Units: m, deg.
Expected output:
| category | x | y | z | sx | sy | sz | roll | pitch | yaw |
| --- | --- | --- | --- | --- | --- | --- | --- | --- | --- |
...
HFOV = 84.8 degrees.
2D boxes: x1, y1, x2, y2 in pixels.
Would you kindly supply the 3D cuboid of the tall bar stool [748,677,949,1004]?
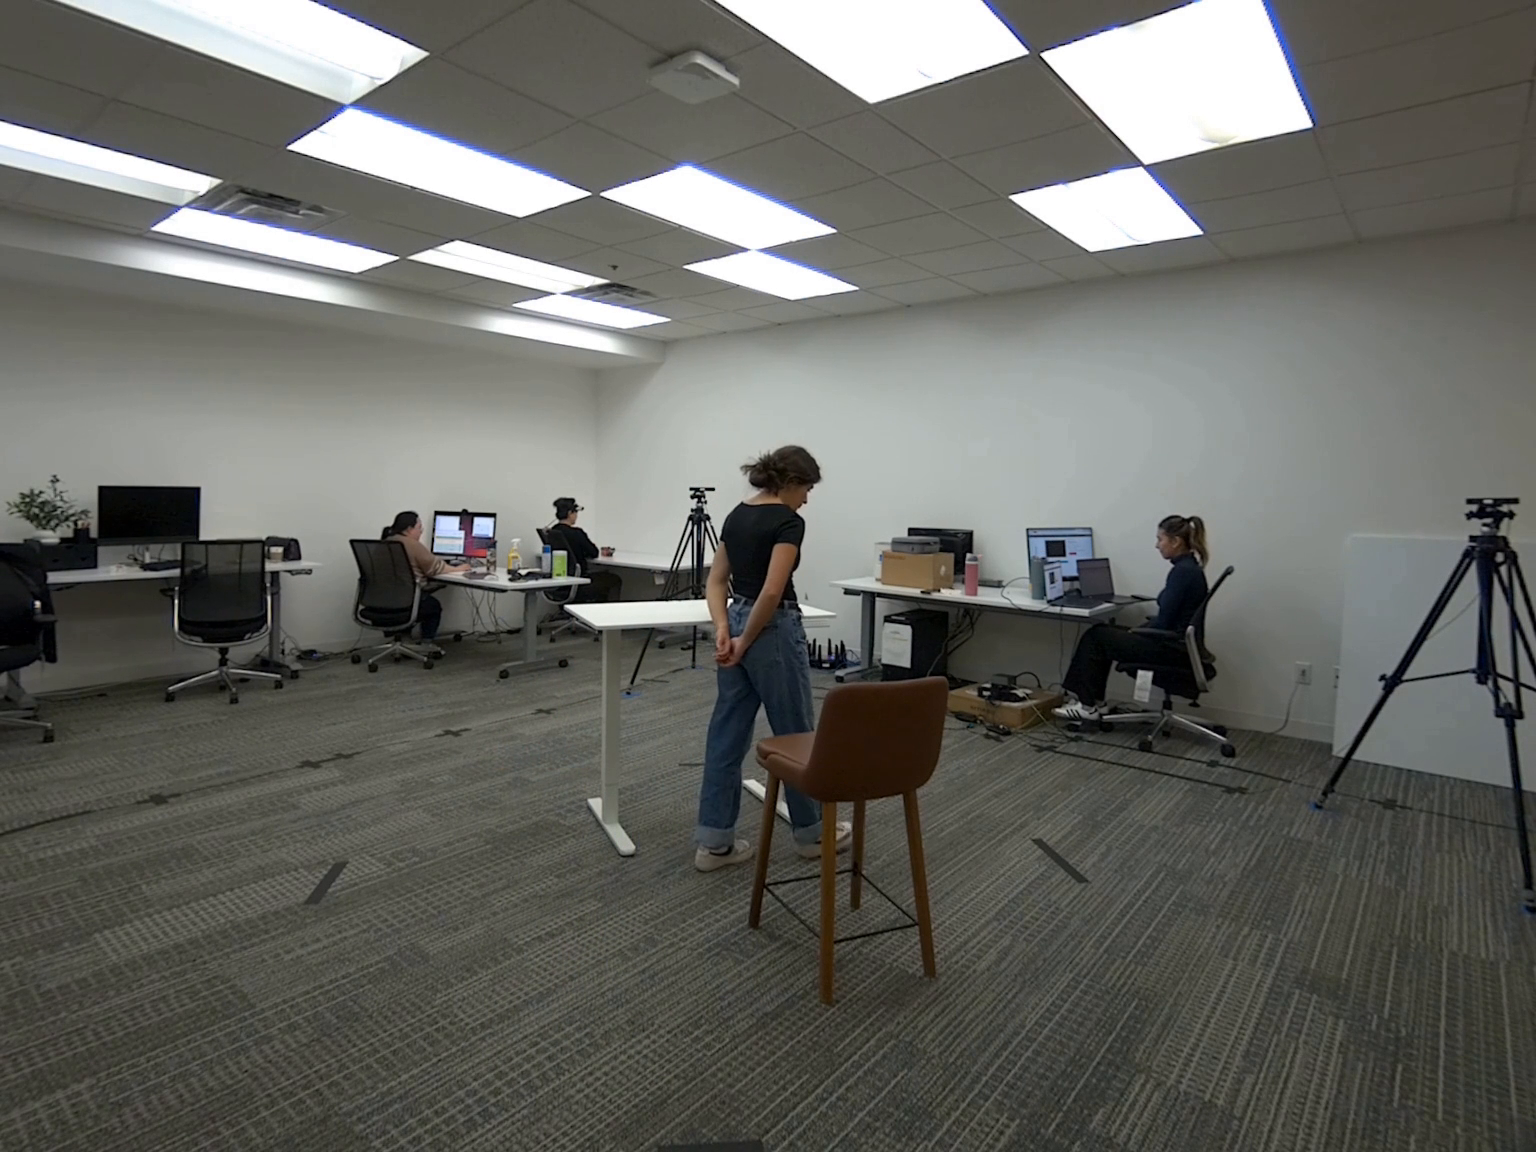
| category | x | y | z | sx | sy | sz | roll | pitch | yaw |
| --- | --- | --- | --- | --- | --- | --- | --- | --- | --- |
| tall bar stool | 0.228 | 0.695 | 2.555 | 0.446 | 0.886 | 0.481 | 0 | 5 | -25 |
